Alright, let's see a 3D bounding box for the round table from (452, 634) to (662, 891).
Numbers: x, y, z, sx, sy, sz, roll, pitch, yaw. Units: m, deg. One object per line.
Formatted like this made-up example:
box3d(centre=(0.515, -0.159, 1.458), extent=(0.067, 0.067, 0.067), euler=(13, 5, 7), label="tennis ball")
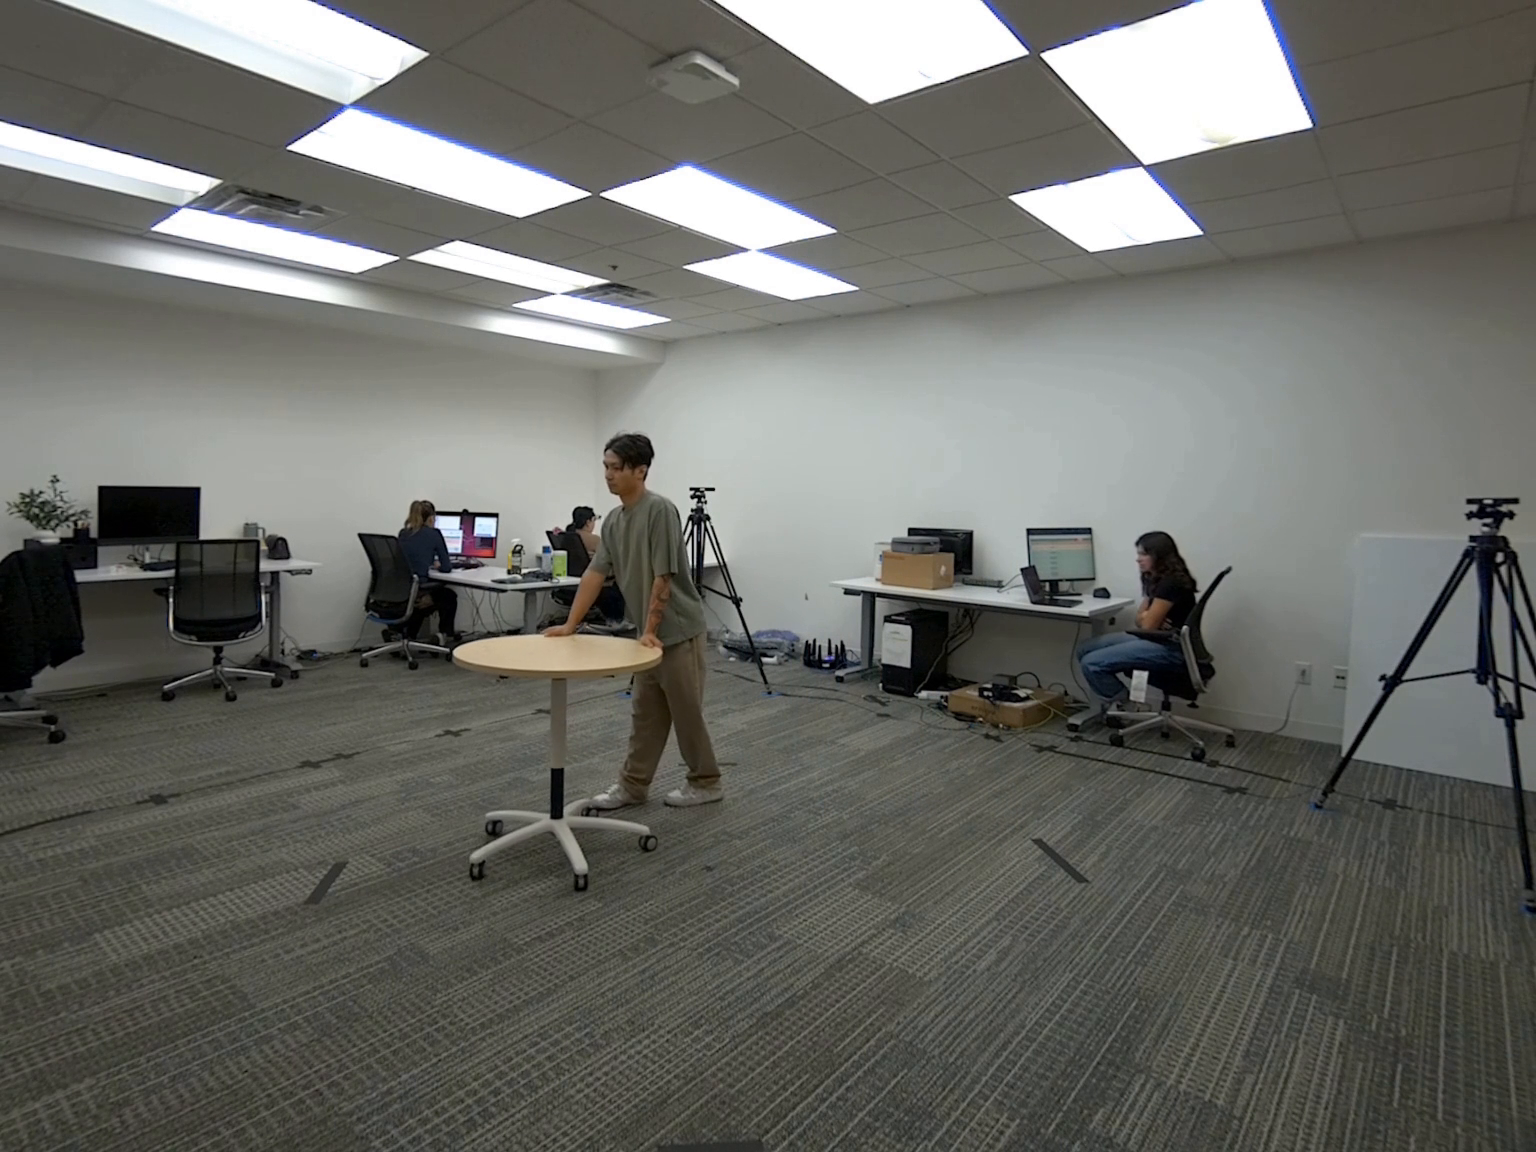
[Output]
box3d(centre=(-0.814, 0.660, 3.186), extent=(0.784, 0.785, 0.788), euler=(1, 3, -2), label="round table")
